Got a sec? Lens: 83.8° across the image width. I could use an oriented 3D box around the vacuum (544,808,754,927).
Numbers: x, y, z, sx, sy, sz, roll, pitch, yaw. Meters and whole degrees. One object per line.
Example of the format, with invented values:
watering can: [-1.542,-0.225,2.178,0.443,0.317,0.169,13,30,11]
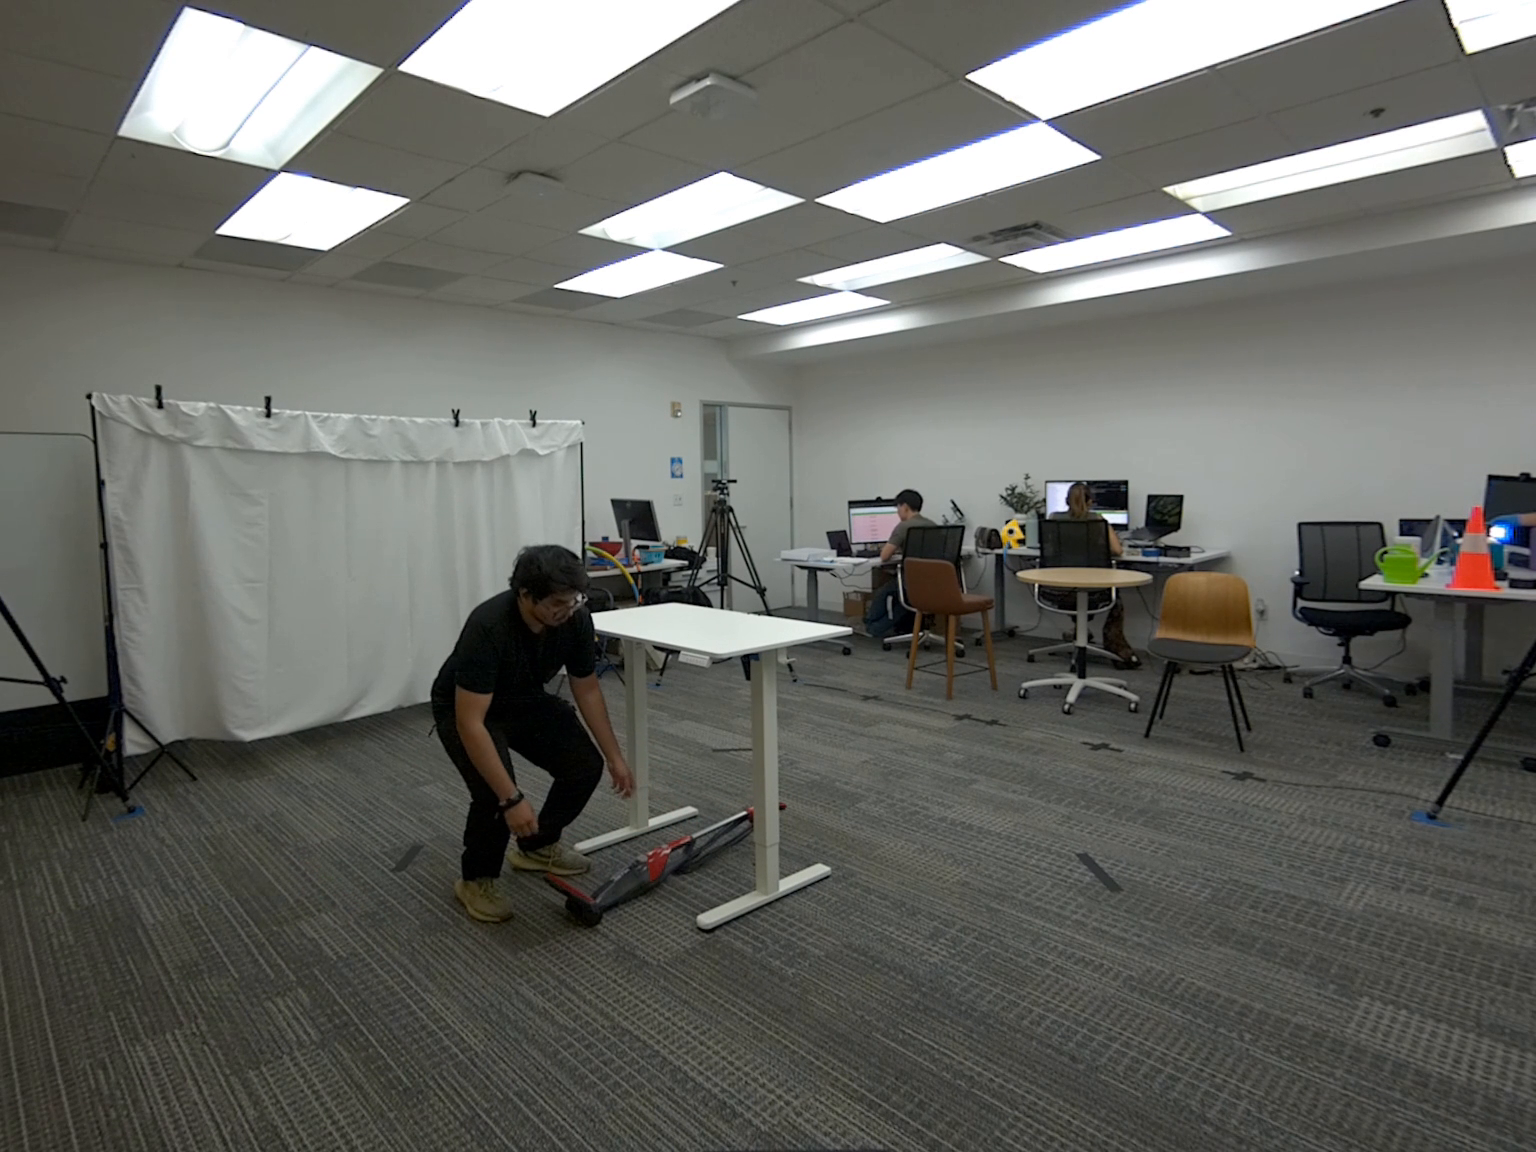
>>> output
vacuum: [-0.268,0.996,3.090,0.261,0.143,1.022,10,12,41]
